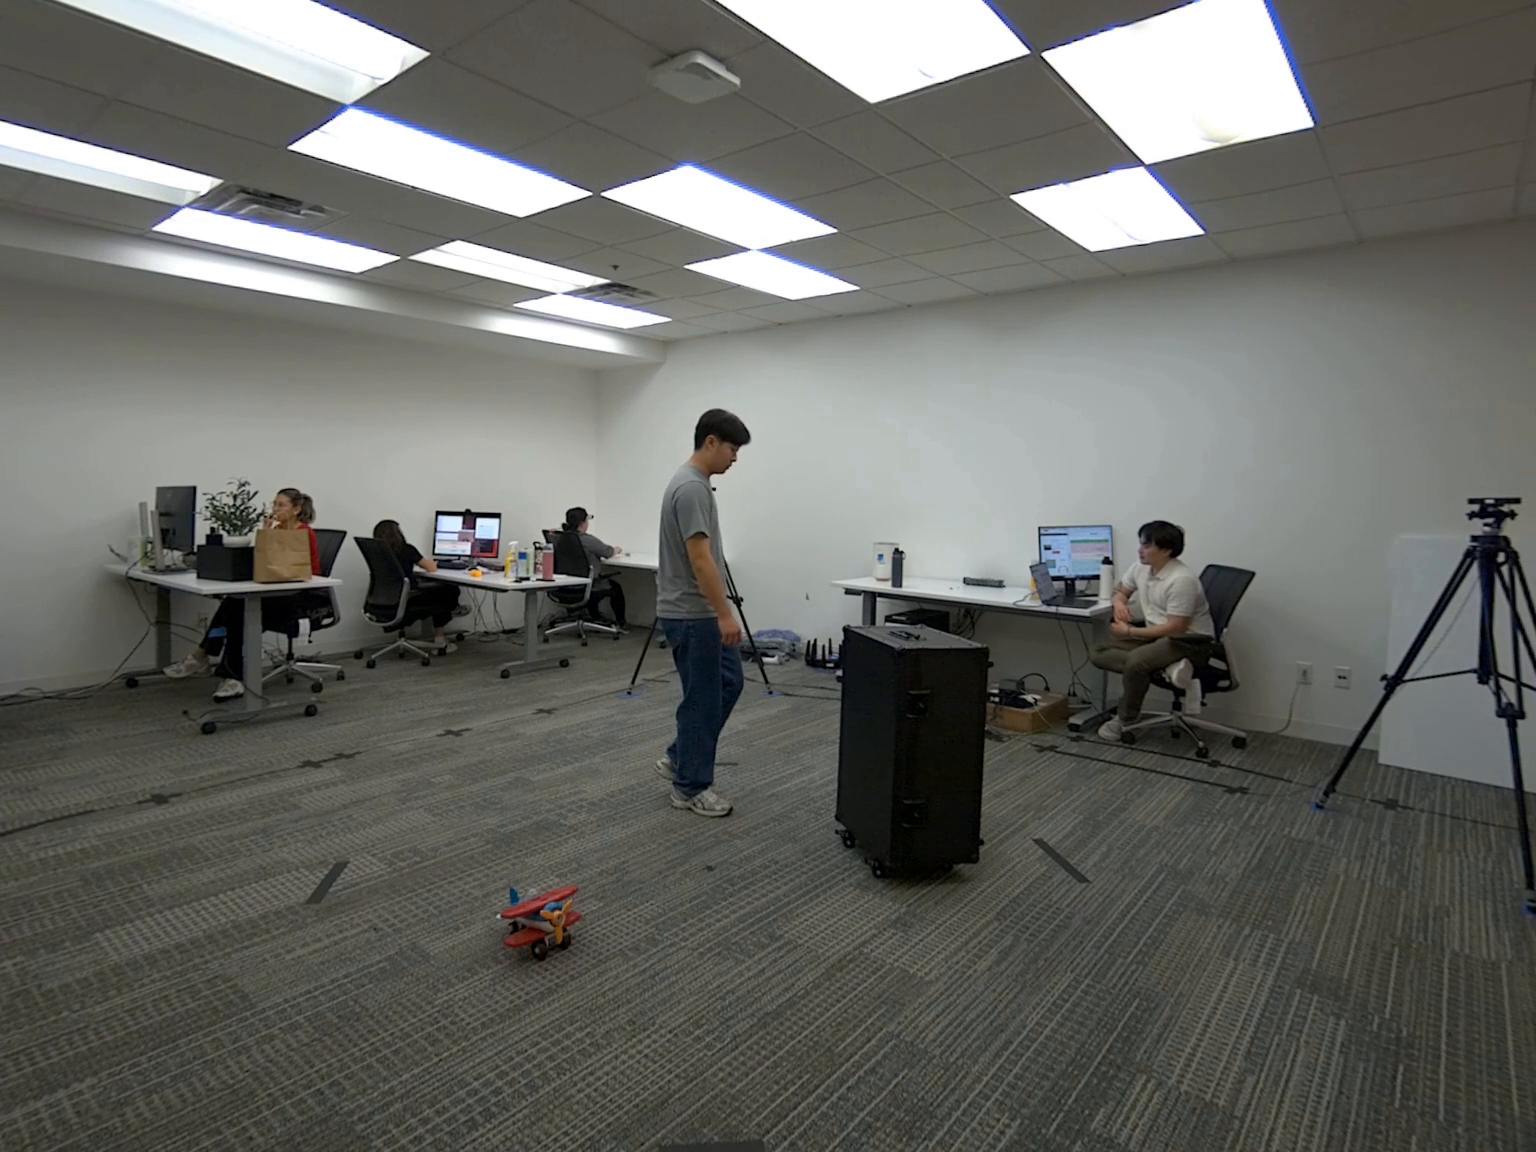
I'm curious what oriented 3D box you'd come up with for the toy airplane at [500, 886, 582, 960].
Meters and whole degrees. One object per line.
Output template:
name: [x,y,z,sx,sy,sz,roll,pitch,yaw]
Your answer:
toy airplane: [-0.728,1.039,2.566,0.263,0.156,0.248,3,5,14]
